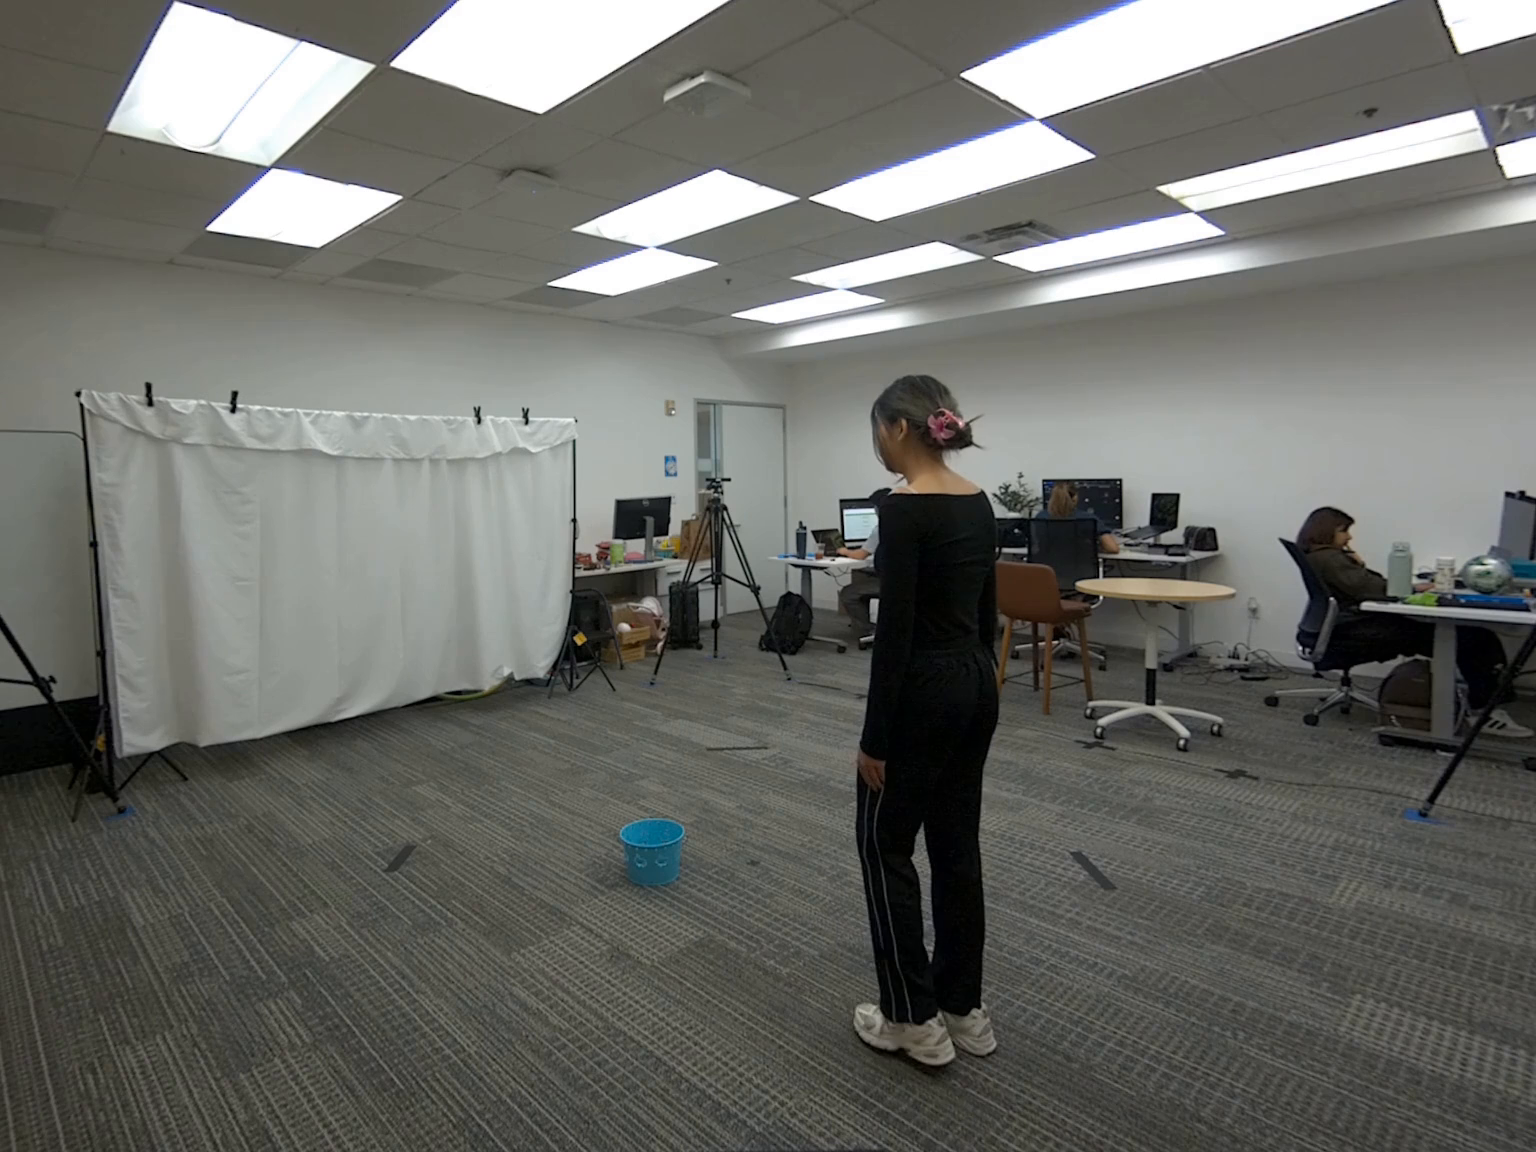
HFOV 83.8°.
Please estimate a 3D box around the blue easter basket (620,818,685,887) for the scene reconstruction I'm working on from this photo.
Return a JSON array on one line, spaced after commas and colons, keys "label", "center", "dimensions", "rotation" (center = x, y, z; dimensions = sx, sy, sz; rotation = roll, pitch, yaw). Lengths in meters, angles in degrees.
[{"label": "blue easter basket", "center": [-0.401, 0.978, 3.033], "dimensions": [0.243, 0.155, 0.245], "rotation": [-1, 6, -2]}]
